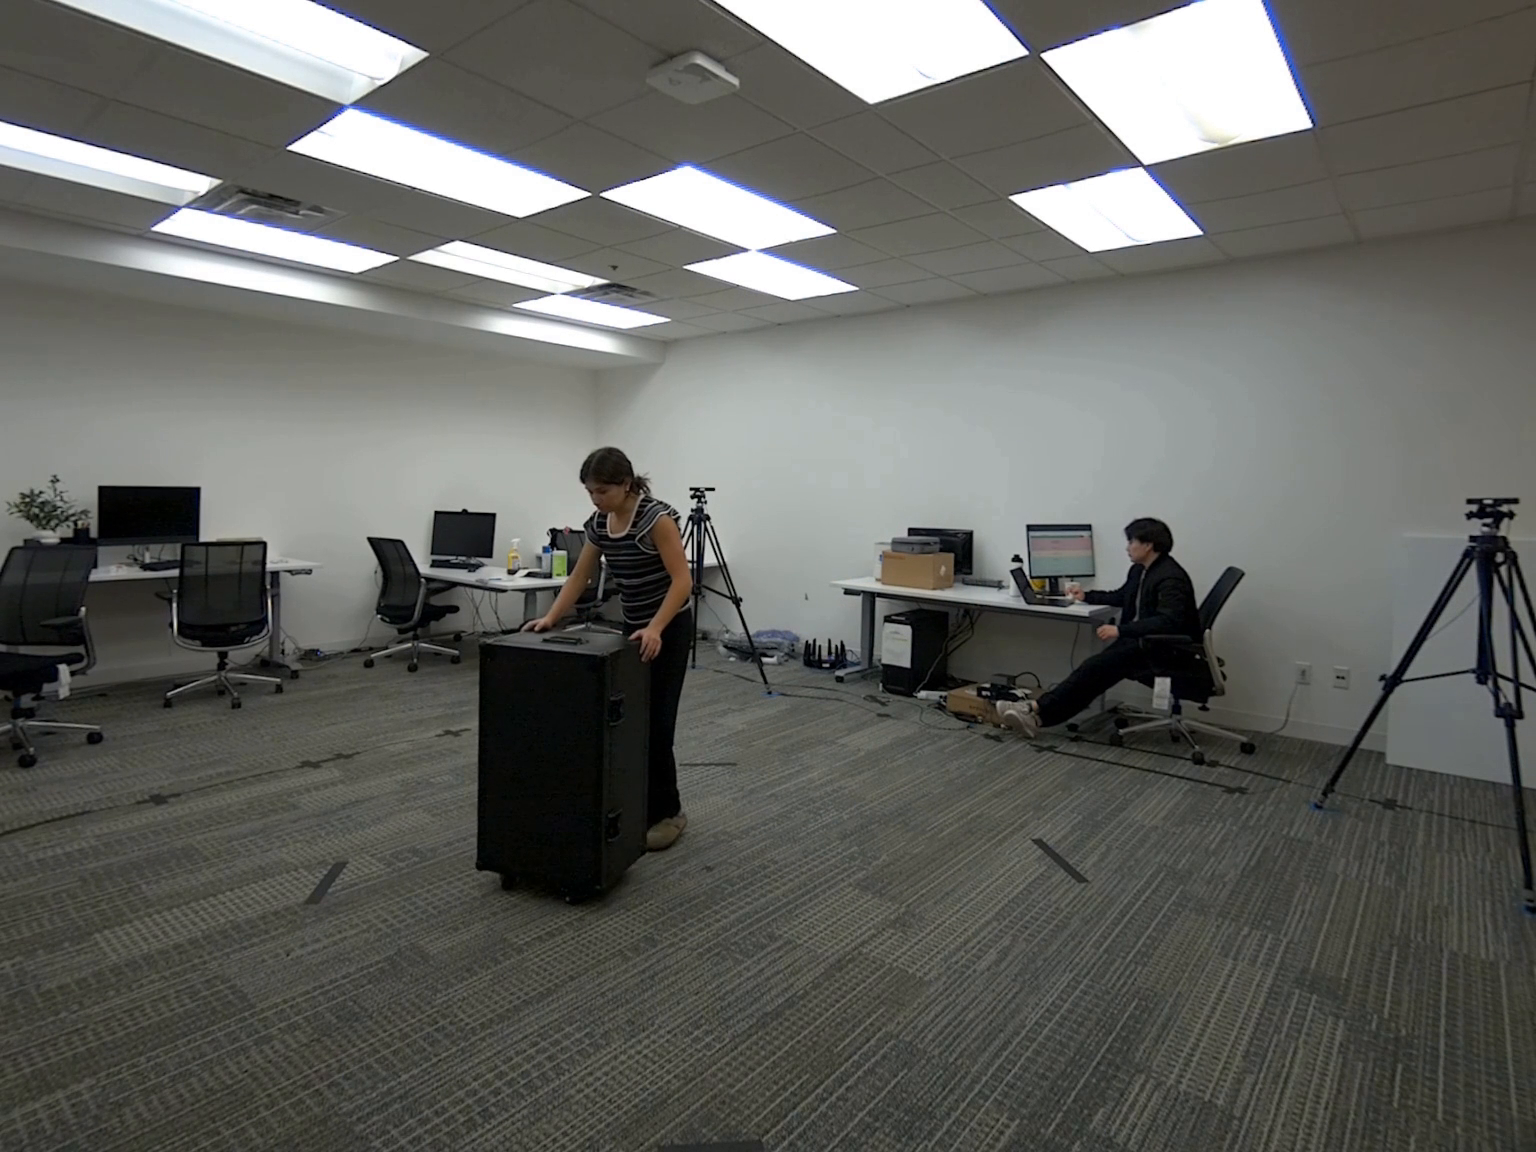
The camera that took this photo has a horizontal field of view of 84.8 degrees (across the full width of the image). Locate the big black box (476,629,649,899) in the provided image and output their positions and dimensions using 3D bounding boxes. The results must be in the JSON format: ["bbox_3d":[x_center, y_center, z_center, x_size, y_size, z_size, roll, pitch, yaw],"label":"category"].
[{"bbox_3d":[-0.722,0.646,2.979,0.532,0.860,0.389,3,2,19],"label":"big black box"}]
